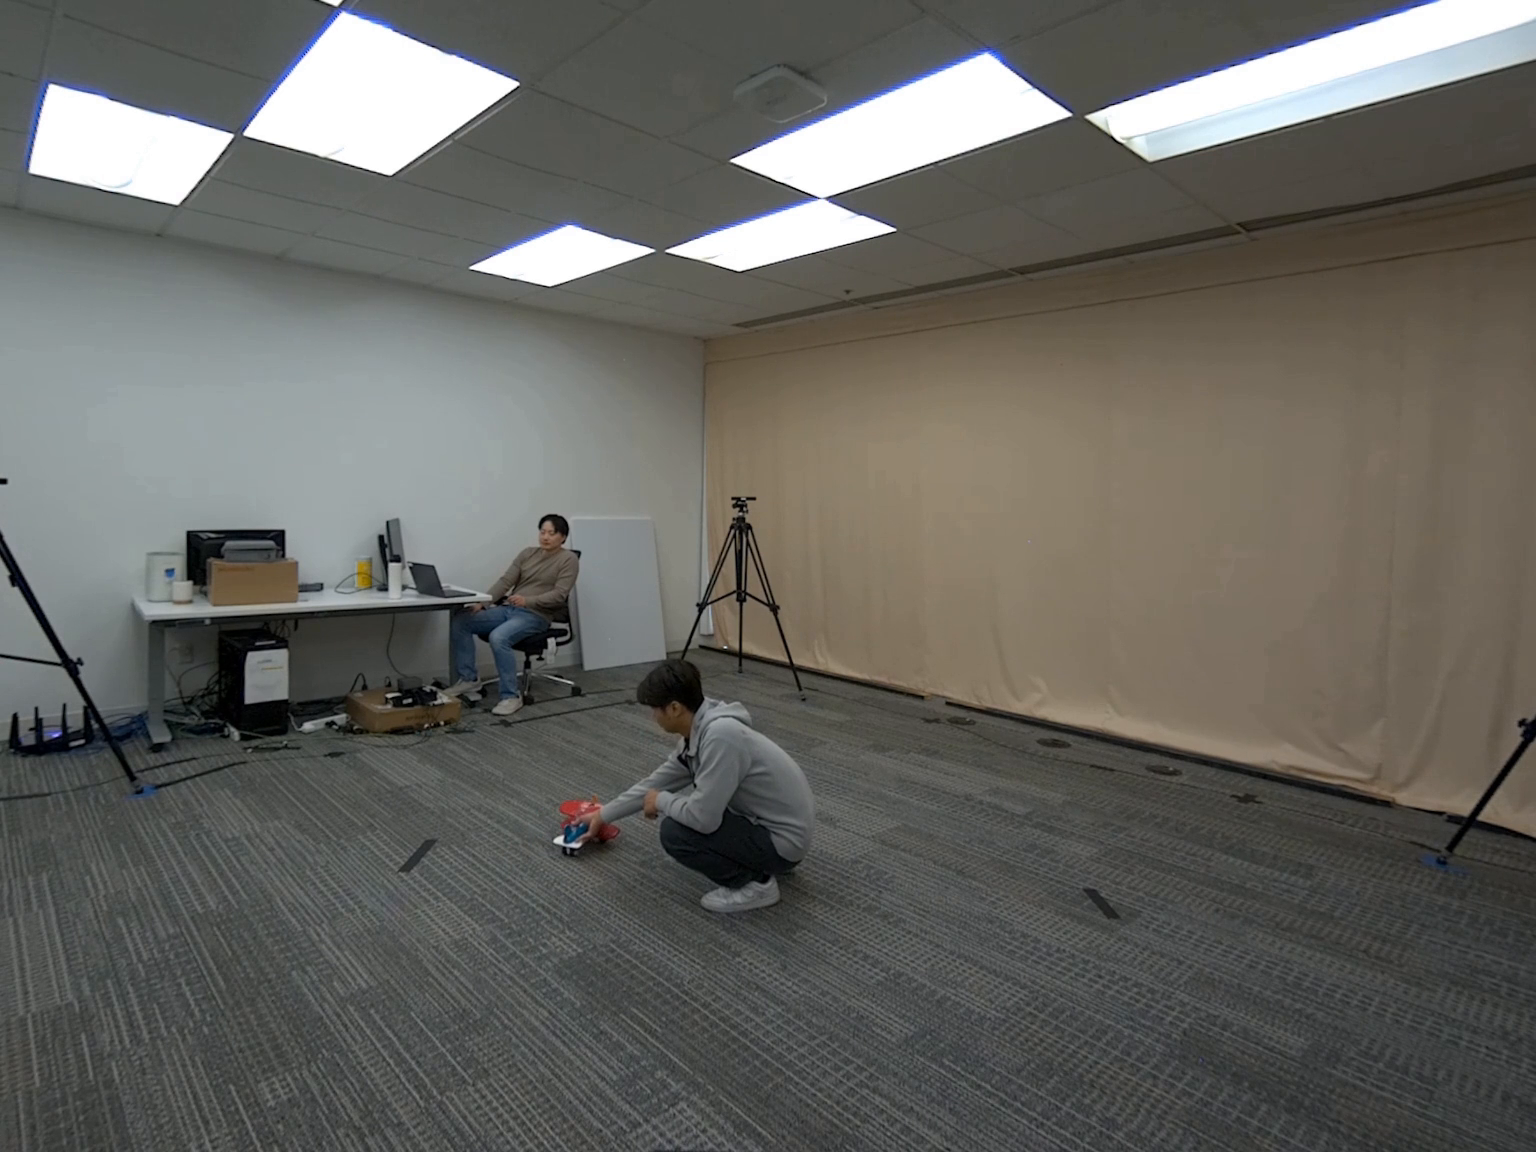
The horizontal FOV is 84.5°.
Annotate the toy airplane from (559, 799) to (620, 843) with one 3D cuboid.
[{"bbox_3d":[-0.709,0.998,3.323,0.250,0.156,0.261,0,4,-7],"label":"toy airplane"}]
